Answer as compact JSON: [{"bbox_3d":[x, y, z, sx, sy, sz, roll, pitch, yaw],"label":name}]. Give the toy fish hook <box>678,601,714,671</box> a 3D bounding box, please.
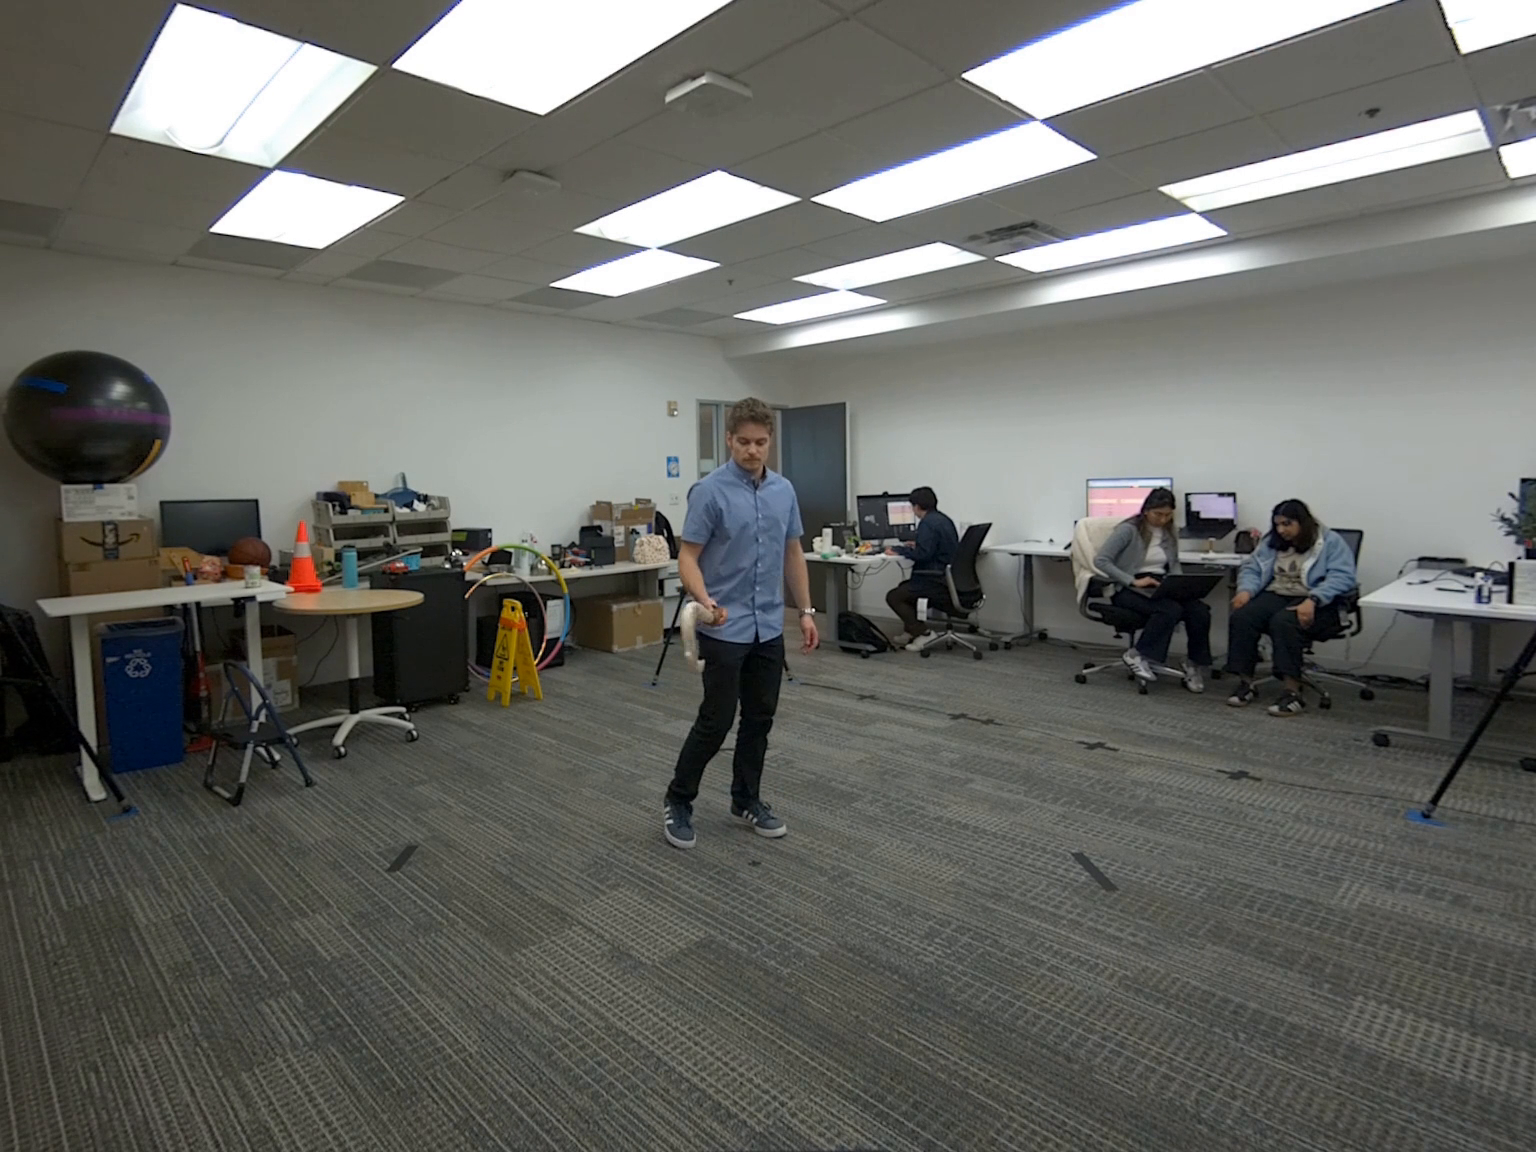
[{"bbox_3d":[-0.209,0.199,2.812,0.049,0.225,0.500,-5,-1,11],"label":"toy fish hook"}]
